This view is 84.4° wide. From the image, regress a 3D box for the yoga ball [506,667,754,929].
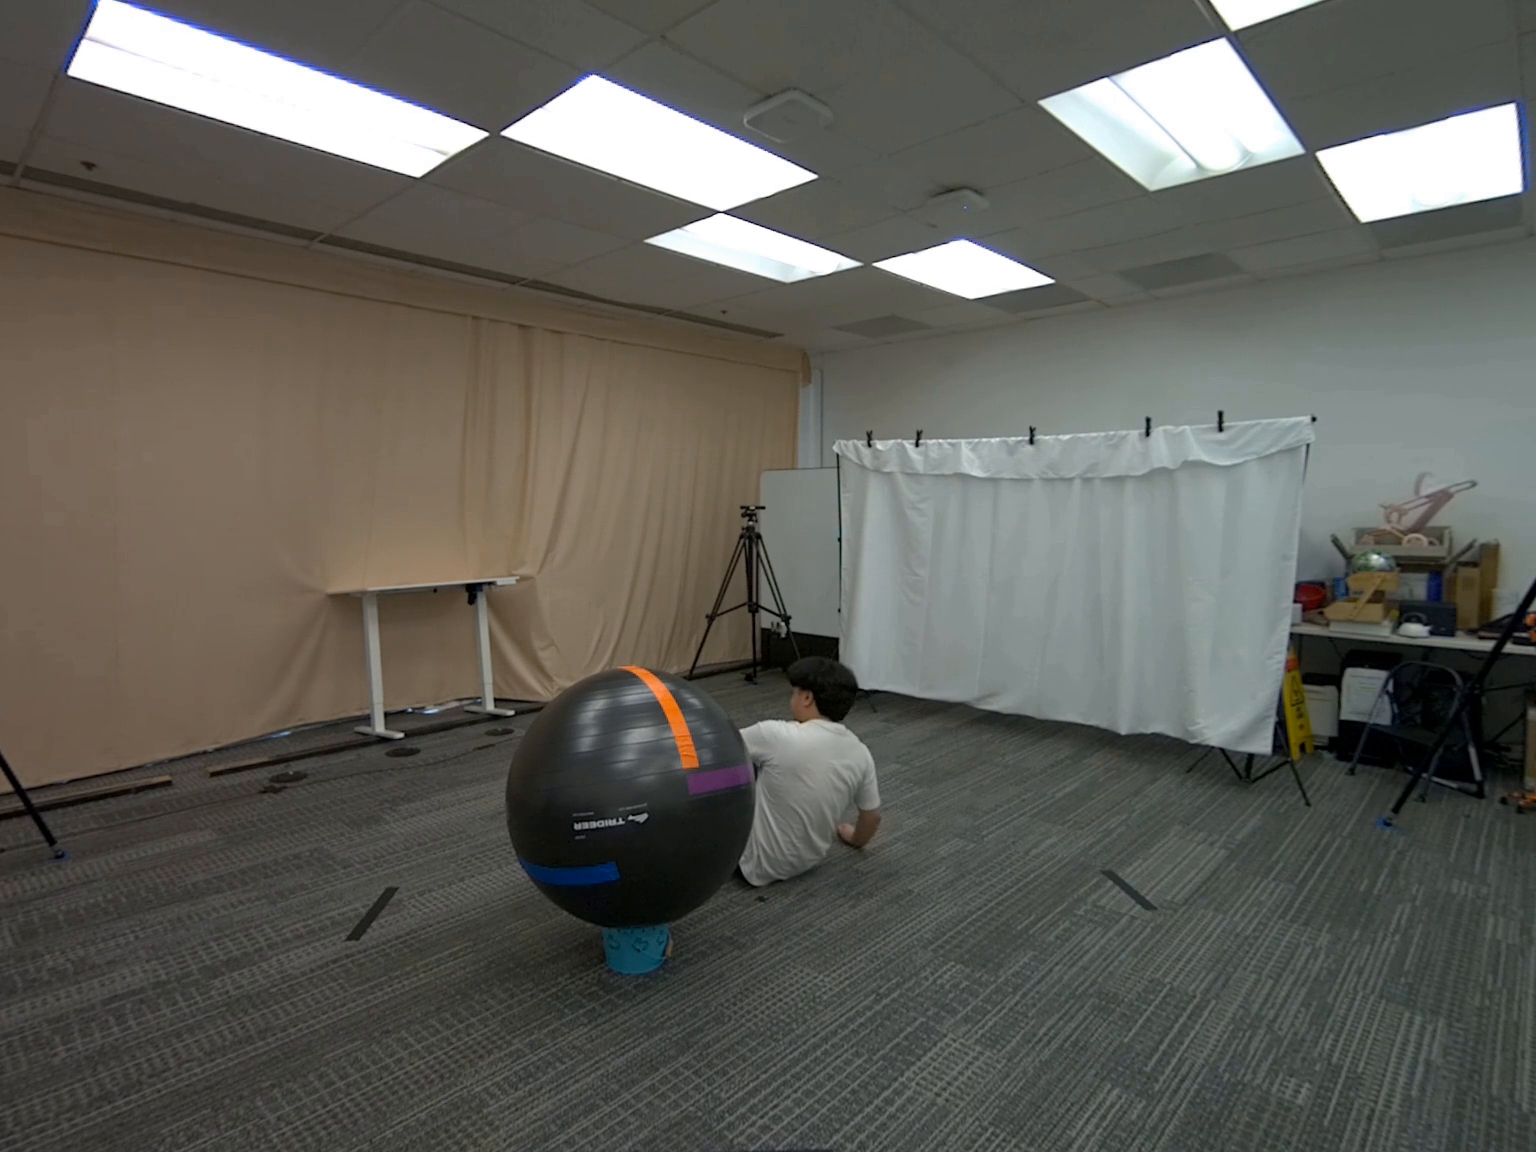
[{"bbox_3d":[-0.430,0.676,2.564,0.757,0.756,0.761,0,4,-2],"label":"yoga ball"}]
